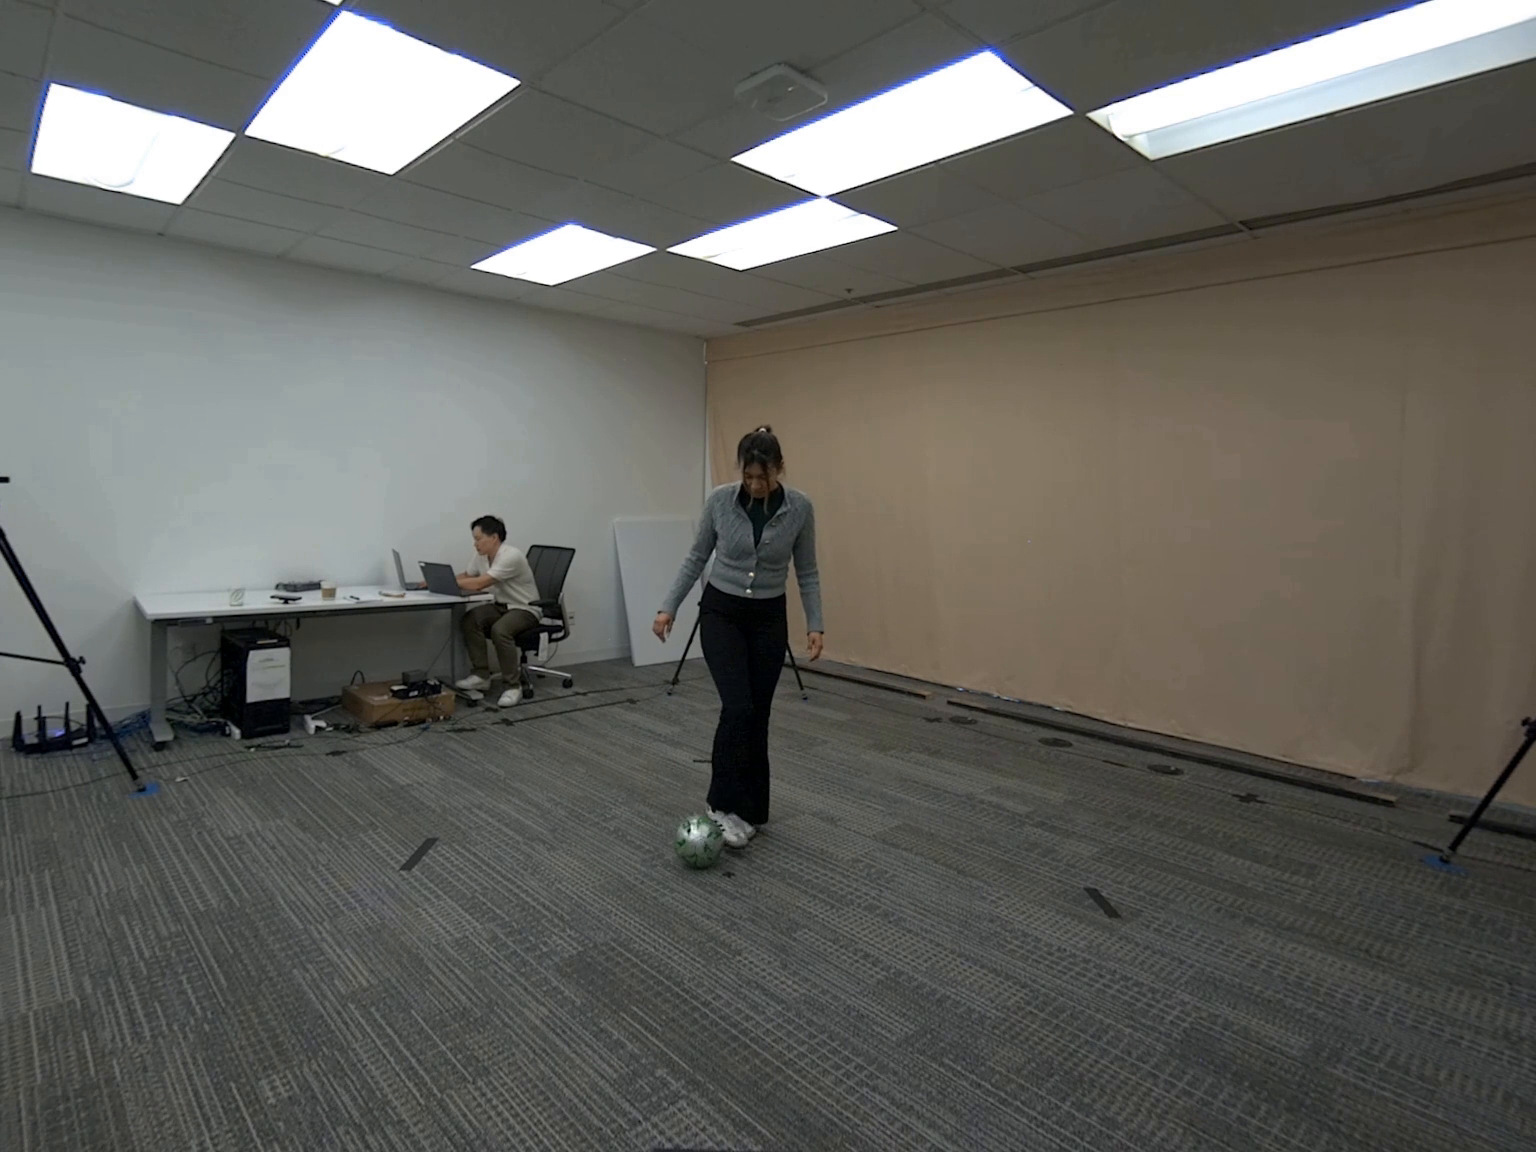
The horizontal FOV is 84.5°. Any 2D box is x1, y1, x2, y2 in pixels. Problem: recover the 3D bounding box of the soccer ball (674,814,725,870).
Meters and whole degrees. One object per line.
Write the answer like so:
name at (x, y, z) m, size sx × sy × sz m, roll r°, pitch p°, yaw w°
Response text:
soccer ball at (-0.272, 0.996, 3.168) m, size 0.187 × 0.187 × 0.188 m, roll 1°, pitch 4°, yaw -1°
